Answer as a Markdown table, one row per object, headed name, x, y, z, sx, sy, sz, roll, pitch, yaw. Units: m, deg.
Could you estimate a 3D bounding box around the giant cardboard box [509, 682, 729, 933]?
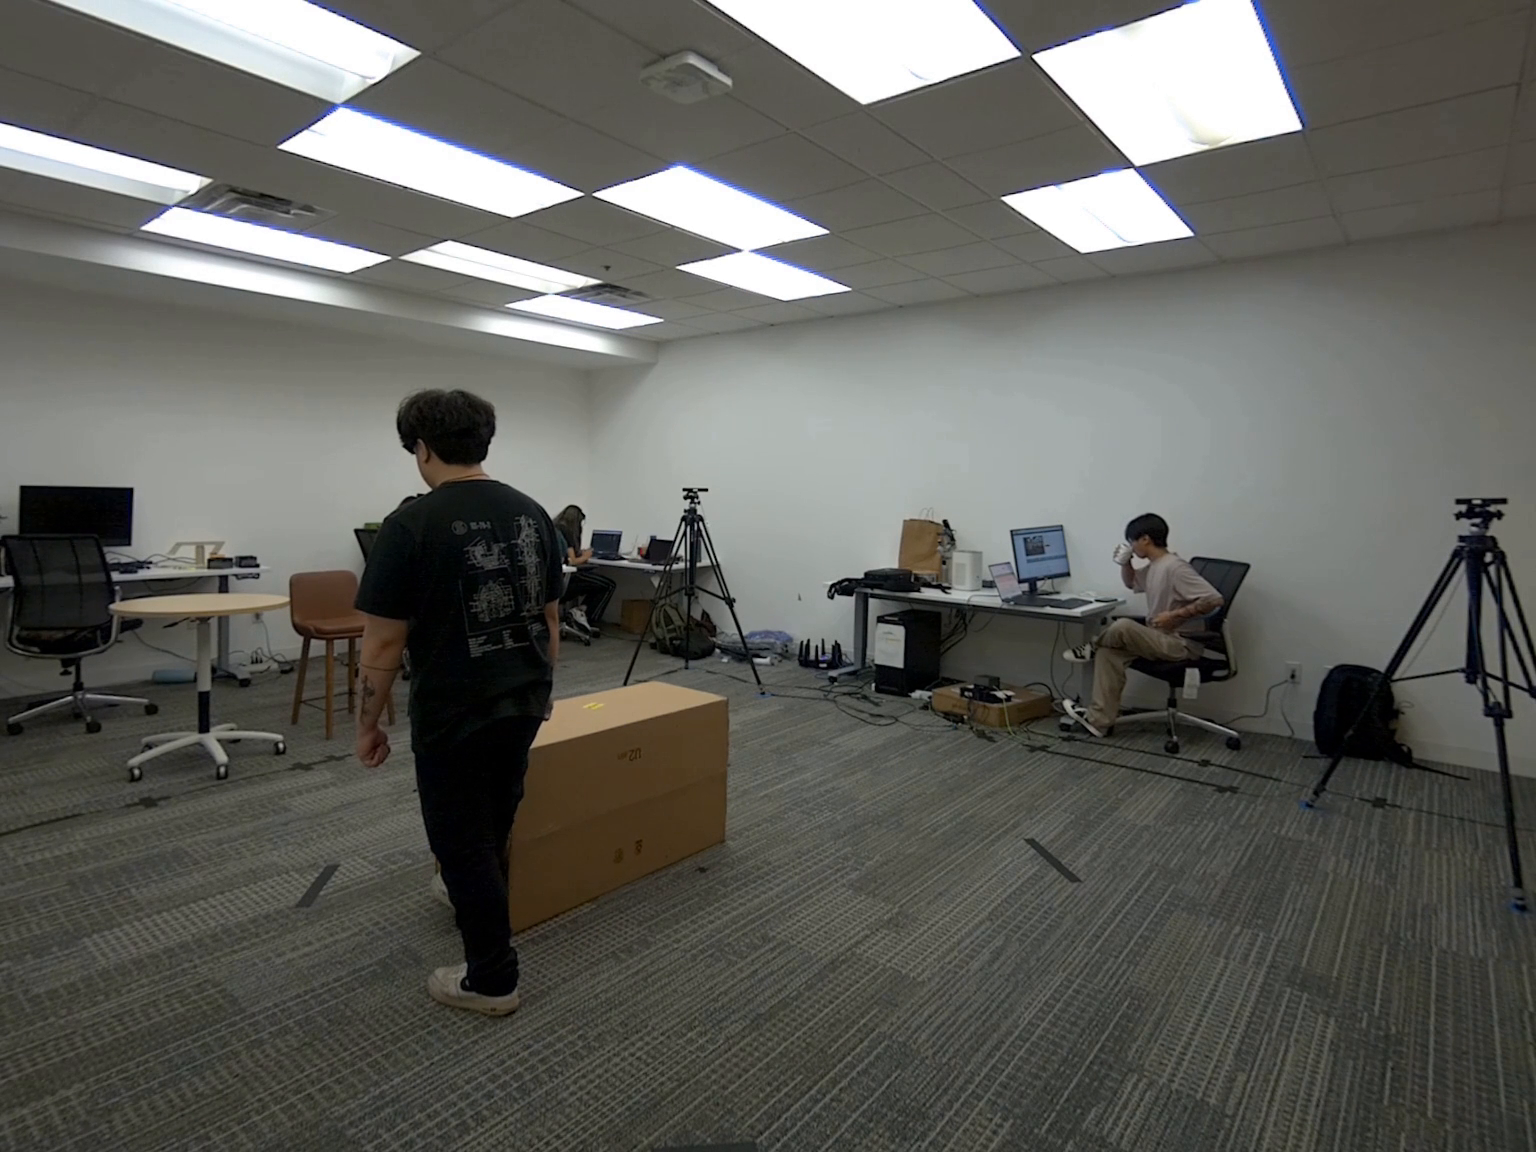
| name | x | y | z | sx | sy | sz | roll | pitch | yaw |
| --- | --- | --- | --- | --- | --- | --- | --- | --- | --- |
| giant cardboard box | -0.646 | 0.776 | 3.120 | 0.461 | 0.582 | 0.996 | 3 | 5 | 39 |
